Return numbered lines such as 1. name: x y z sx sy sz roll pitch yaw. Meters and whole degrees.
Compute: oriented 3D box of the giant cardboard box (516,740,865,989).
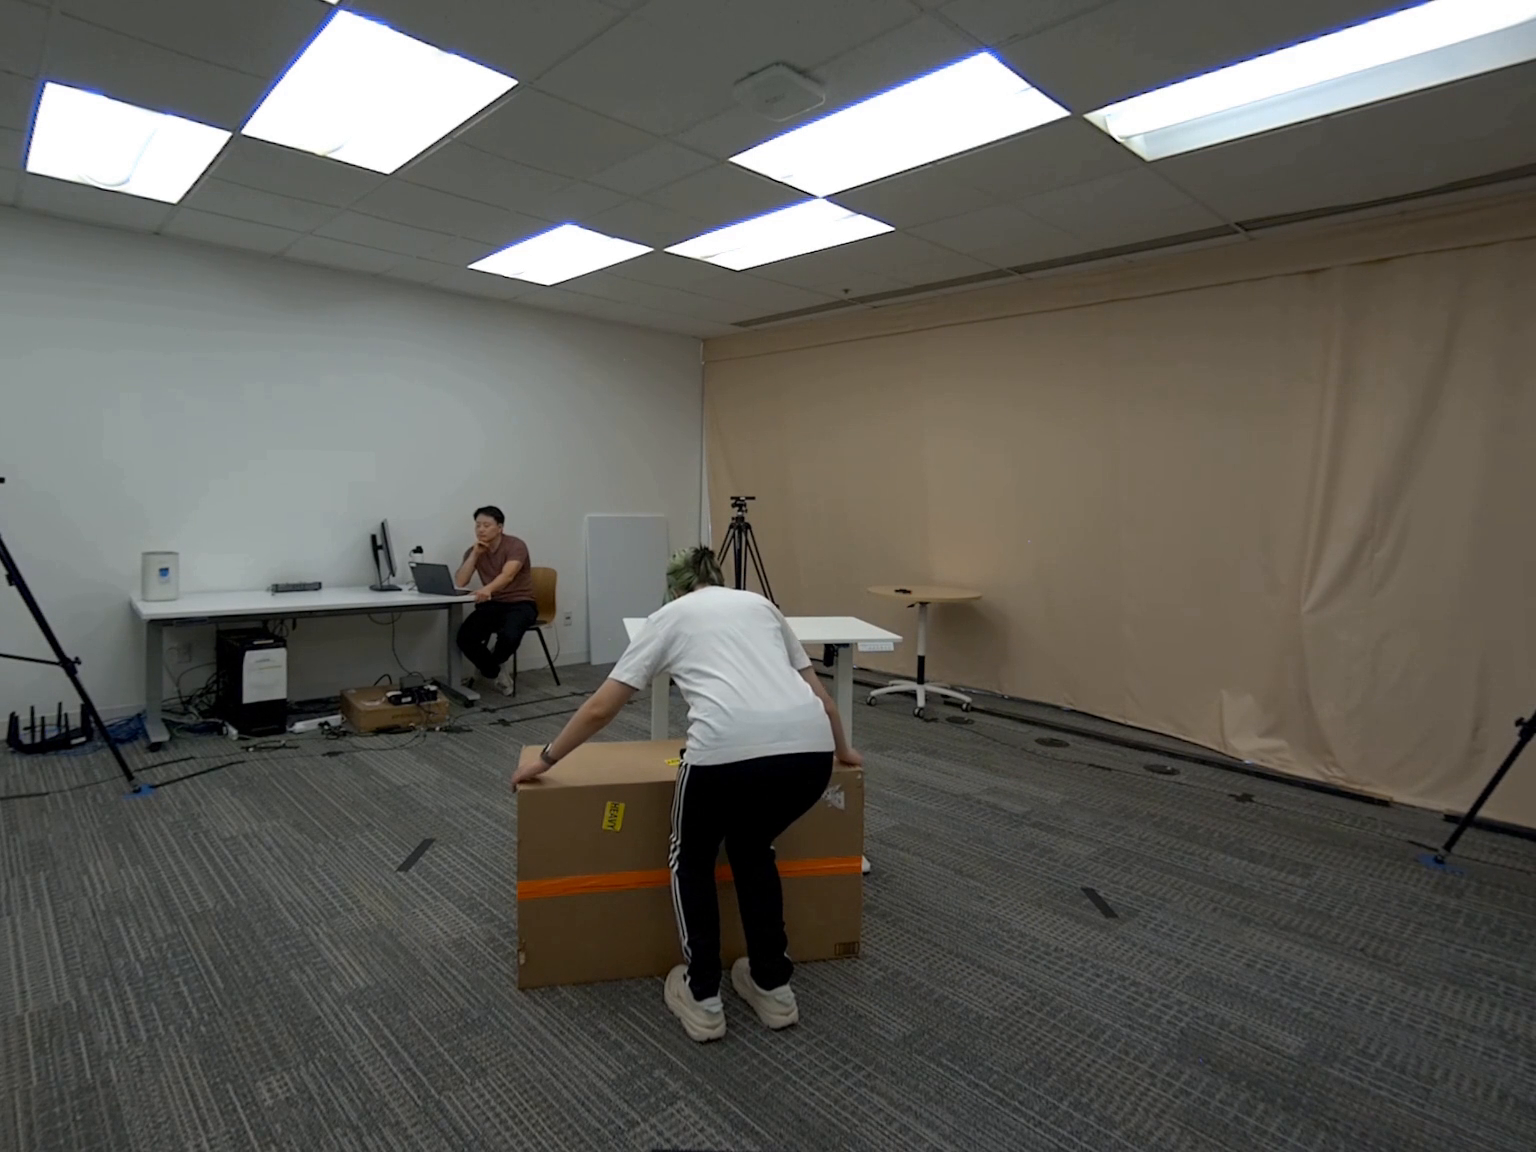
1. giant cardboard box: -0.263 0.851 2.647 1.016 0.582 0.452 0 4 -13
